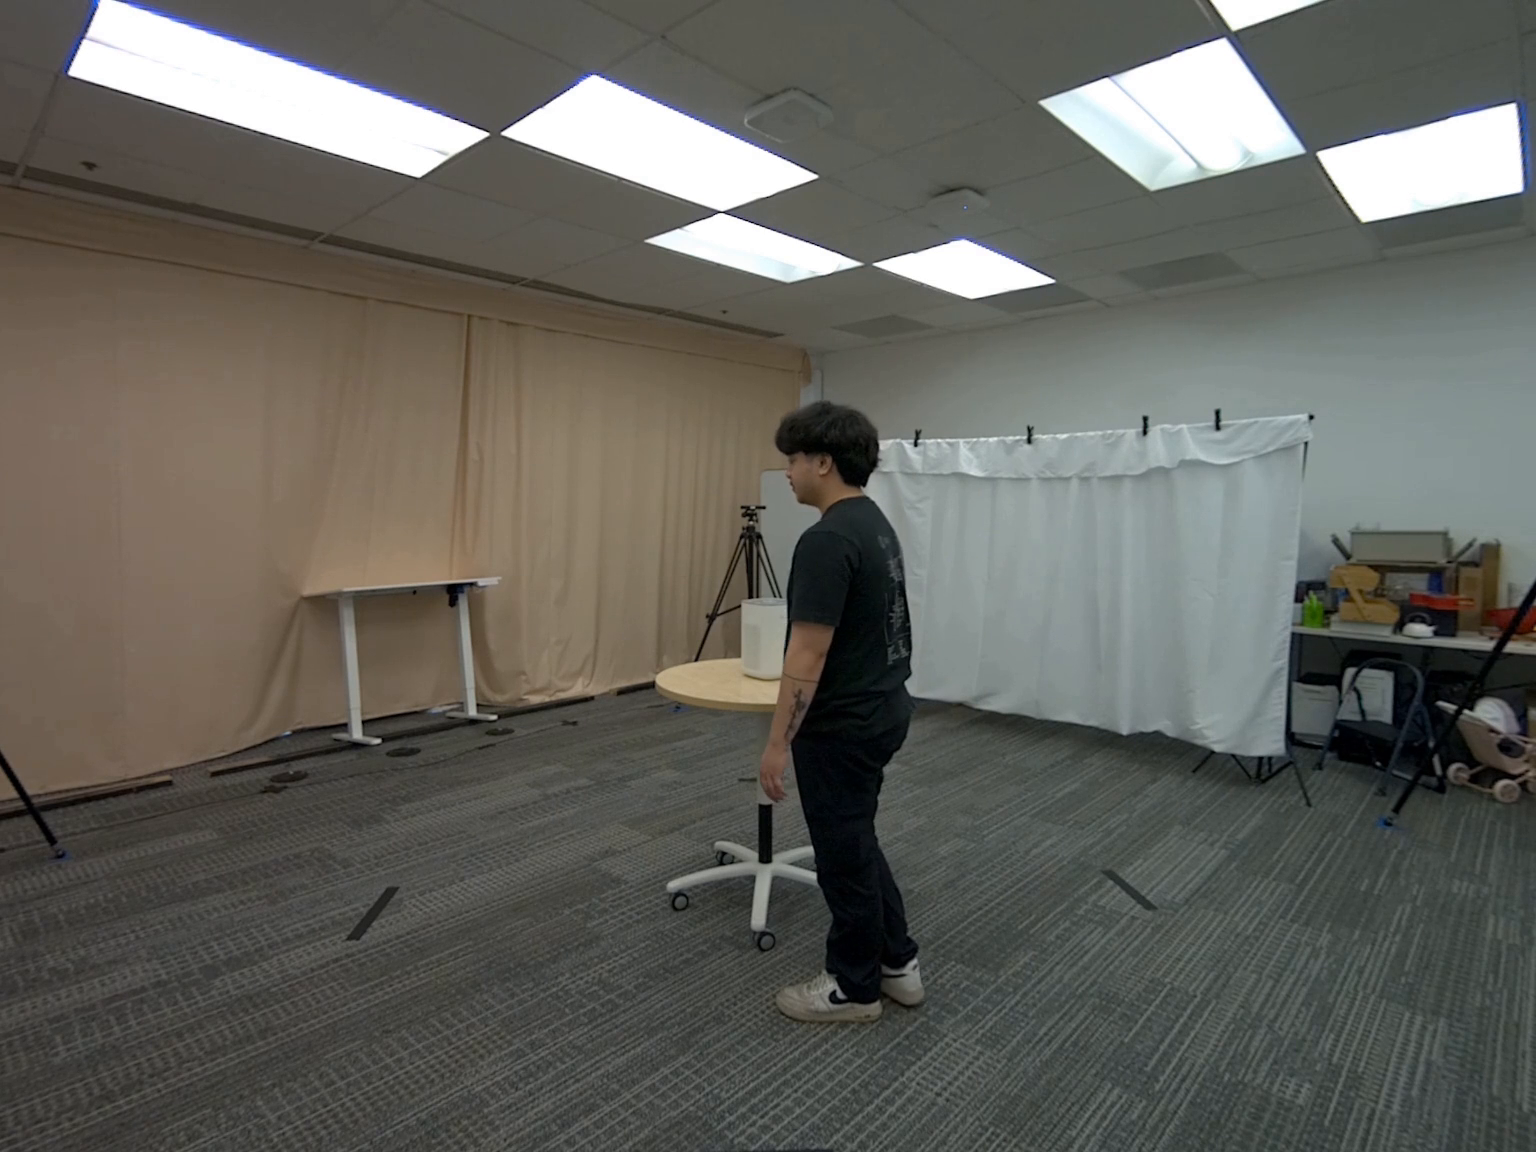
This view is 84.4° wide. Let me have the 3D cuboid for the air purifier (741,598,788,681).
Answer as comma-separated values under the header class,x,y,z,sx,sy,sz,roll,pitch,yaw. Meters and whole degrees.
class,x,y,z,sx,sy,sz,roll,pitch,yaw
air purifier,0.010,0.218,2.961,0.166,0.265,0.177,-4,6,-41
